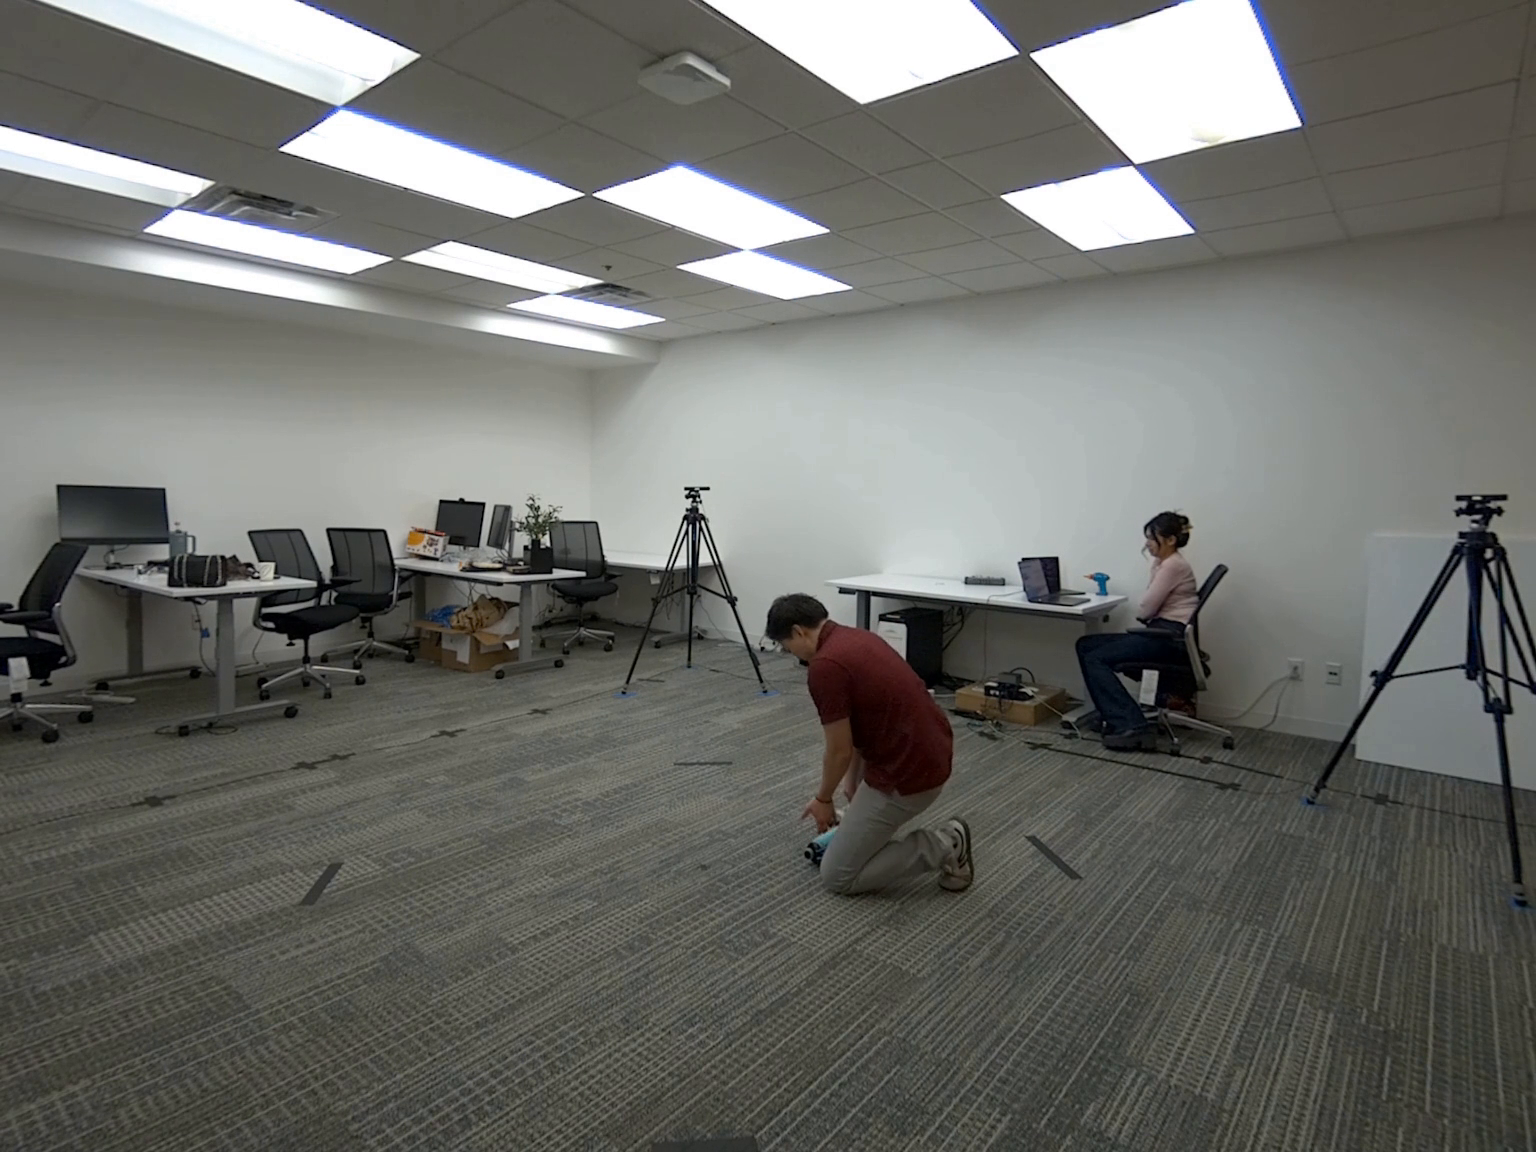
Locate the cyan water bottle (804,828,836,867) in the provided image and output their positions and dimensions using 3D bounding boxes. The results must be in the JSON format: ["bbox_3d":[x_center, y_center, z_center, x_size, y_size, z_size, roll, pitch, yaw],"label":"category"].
[{"bbox_3d":[0.238,1.013,3.243,0.095,0.092,0.275,4,6,37],"label":"cyan water bottle"}]
